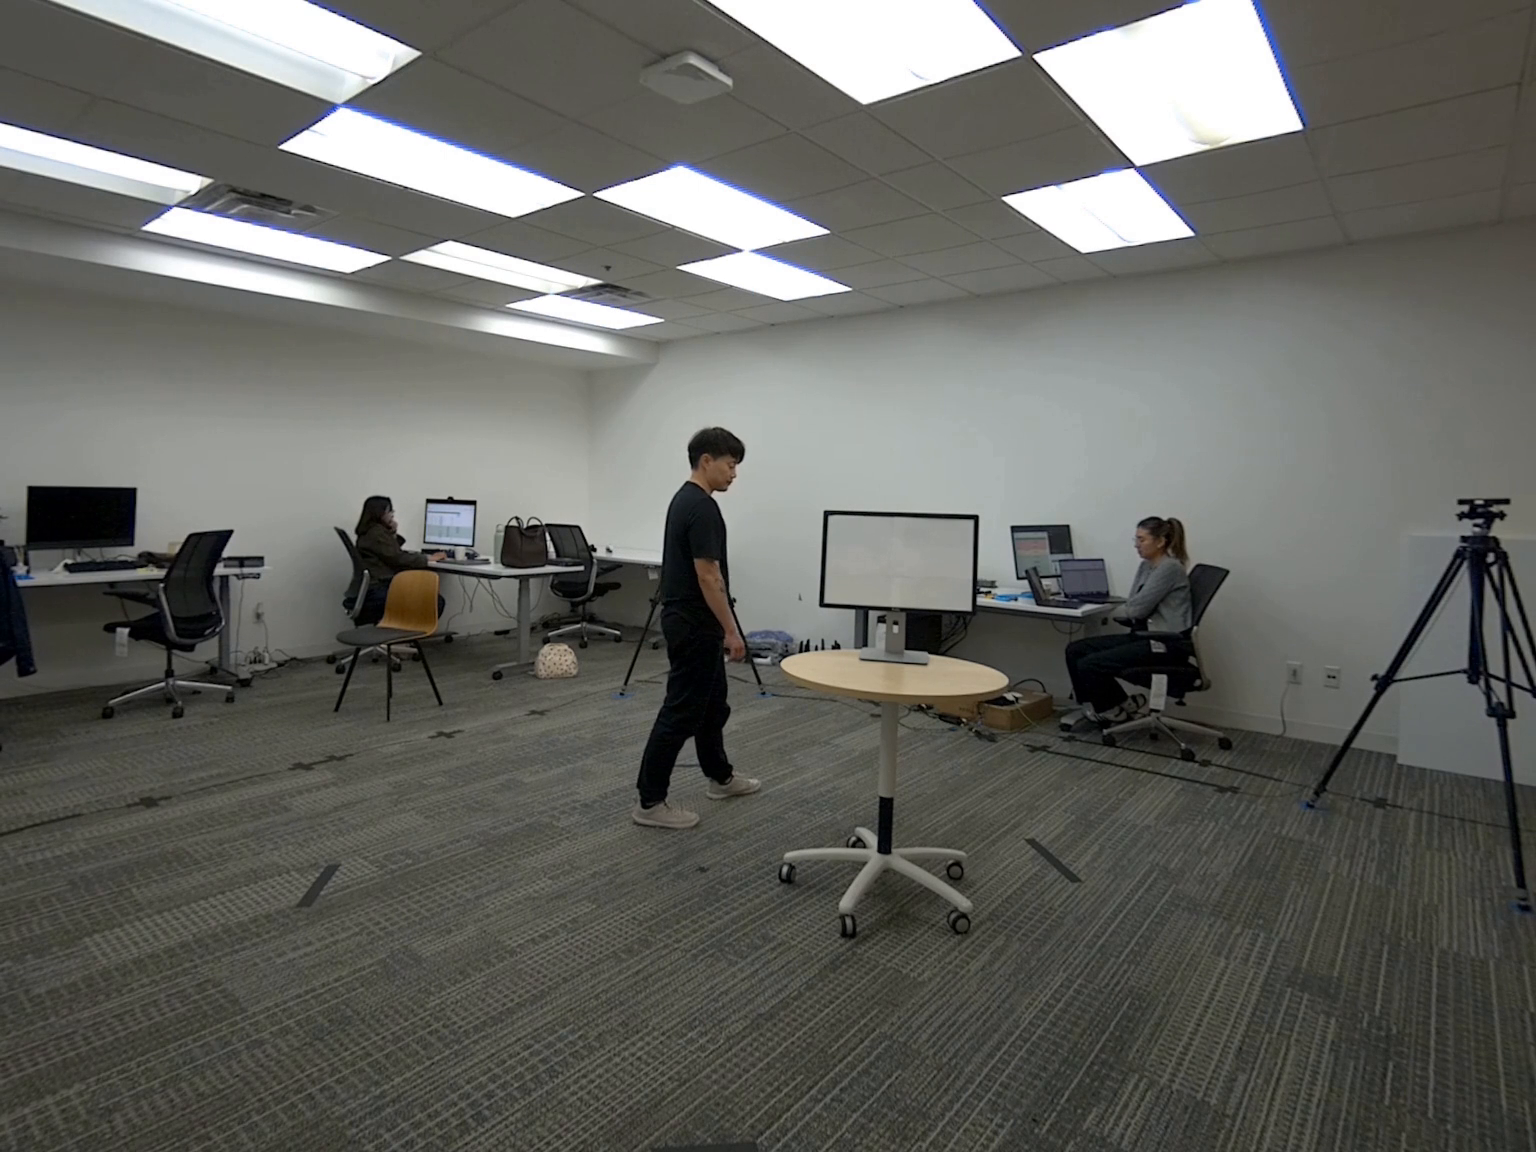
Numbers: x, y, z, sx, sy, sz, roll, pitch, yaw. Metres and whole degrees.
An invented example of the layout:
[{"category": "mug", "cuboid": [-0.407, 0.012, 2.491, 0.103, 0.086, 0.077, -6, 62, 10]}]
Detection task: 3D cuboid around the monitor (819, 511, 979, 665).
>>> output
[{"category": "monitor", "cuboid": [0.466, 0.035, 3.145, 0.546, 0.520, 0.185, 3, 4, 11]}]
